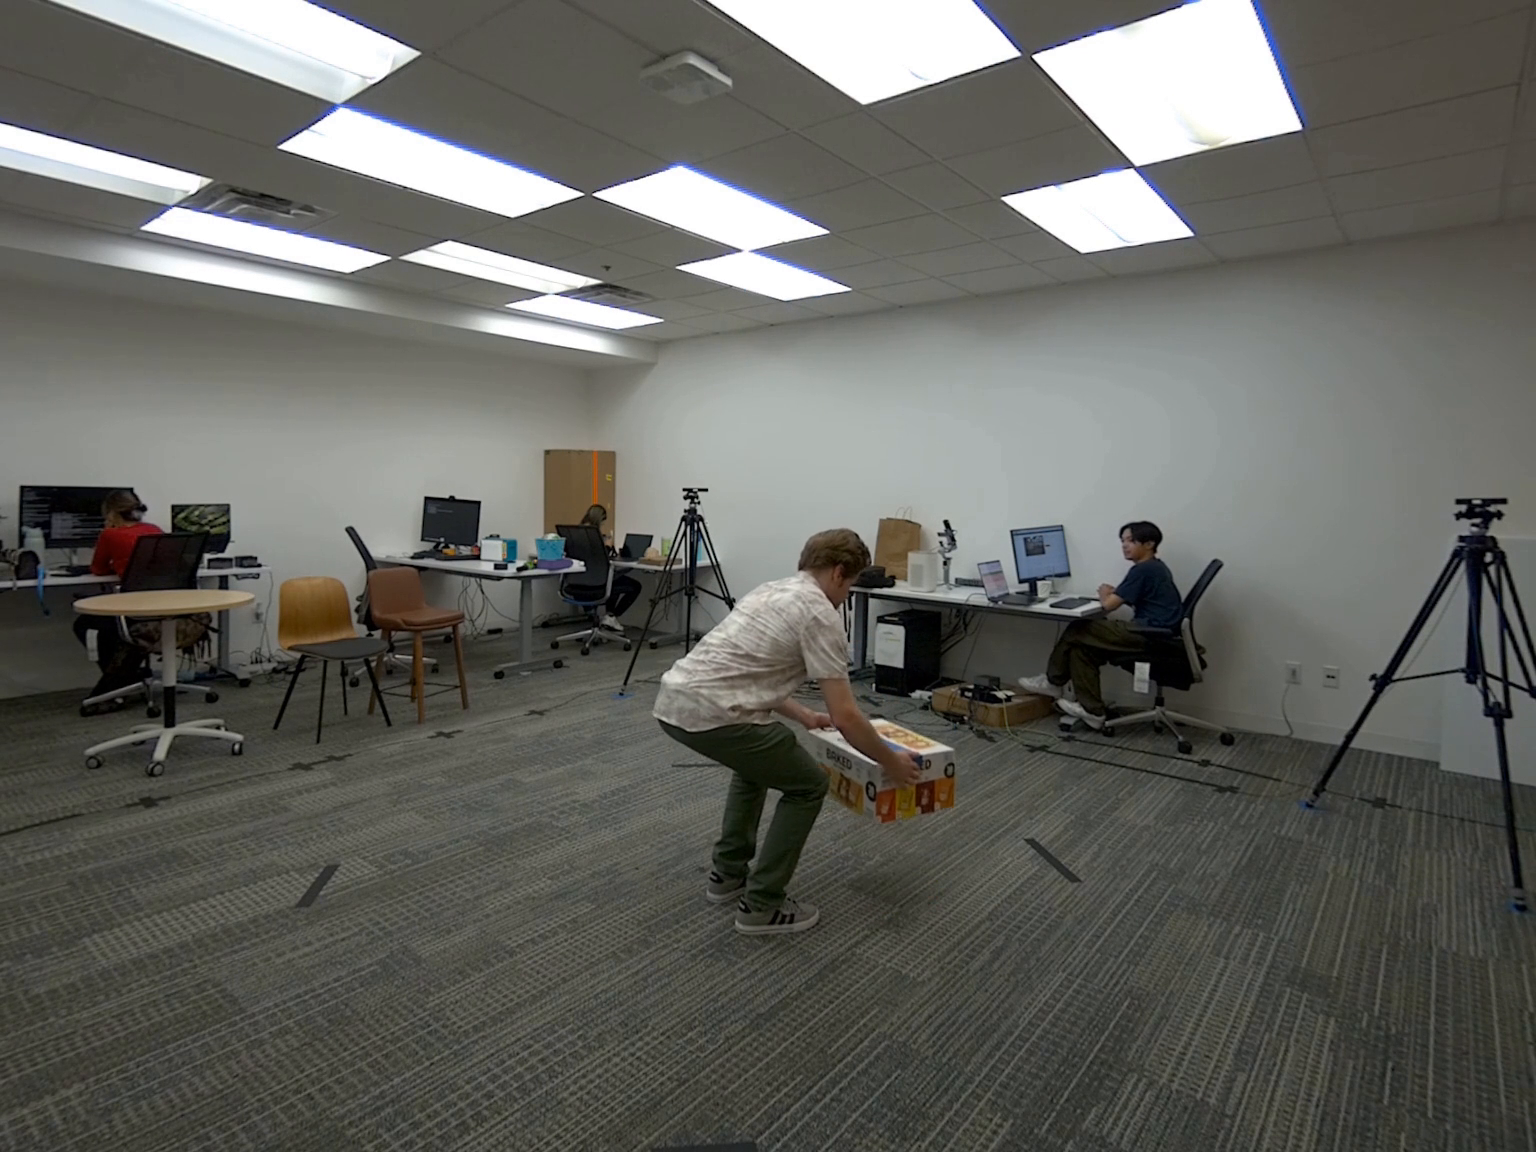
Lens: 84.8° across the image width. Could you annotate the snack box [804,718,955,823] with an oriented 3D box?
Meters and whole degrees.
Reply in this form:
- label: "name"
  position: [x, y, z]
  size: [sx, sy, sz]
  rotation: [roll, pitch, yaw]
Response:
- label: "snack box"
  position: [0.383, 0.673, 3.012]
  size: [0.332, 0.205, 0.418]
  rotation: [-3, 7, -29]
